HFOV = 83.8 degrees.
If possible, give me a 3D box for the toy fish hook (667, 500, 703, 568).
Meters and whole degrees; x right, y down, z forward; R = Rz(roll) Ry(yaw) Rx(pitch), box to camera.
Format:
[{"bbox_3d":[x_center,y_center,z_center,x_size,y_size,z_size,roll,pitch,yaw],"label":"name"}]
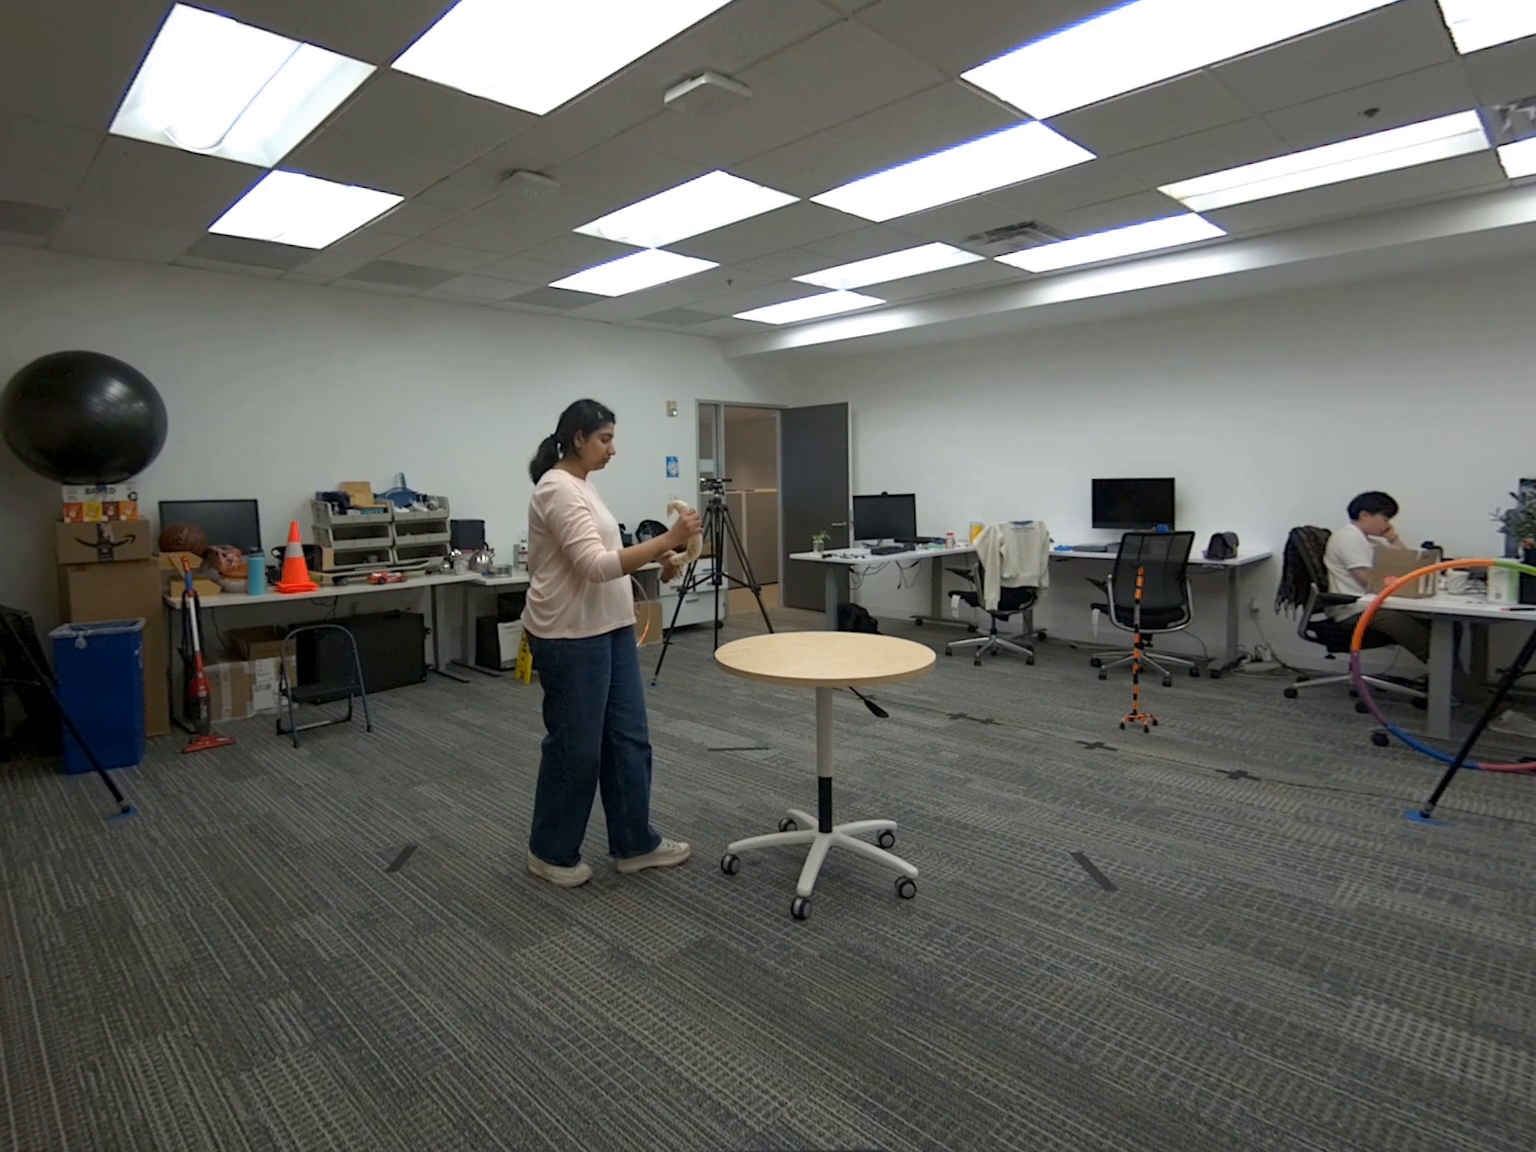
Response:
[{"bbox_3d":[-0.337,-0.116,3.037,0.047,0.228,0.506,-14,-14,-25],"label":"toy fish hook"}]
